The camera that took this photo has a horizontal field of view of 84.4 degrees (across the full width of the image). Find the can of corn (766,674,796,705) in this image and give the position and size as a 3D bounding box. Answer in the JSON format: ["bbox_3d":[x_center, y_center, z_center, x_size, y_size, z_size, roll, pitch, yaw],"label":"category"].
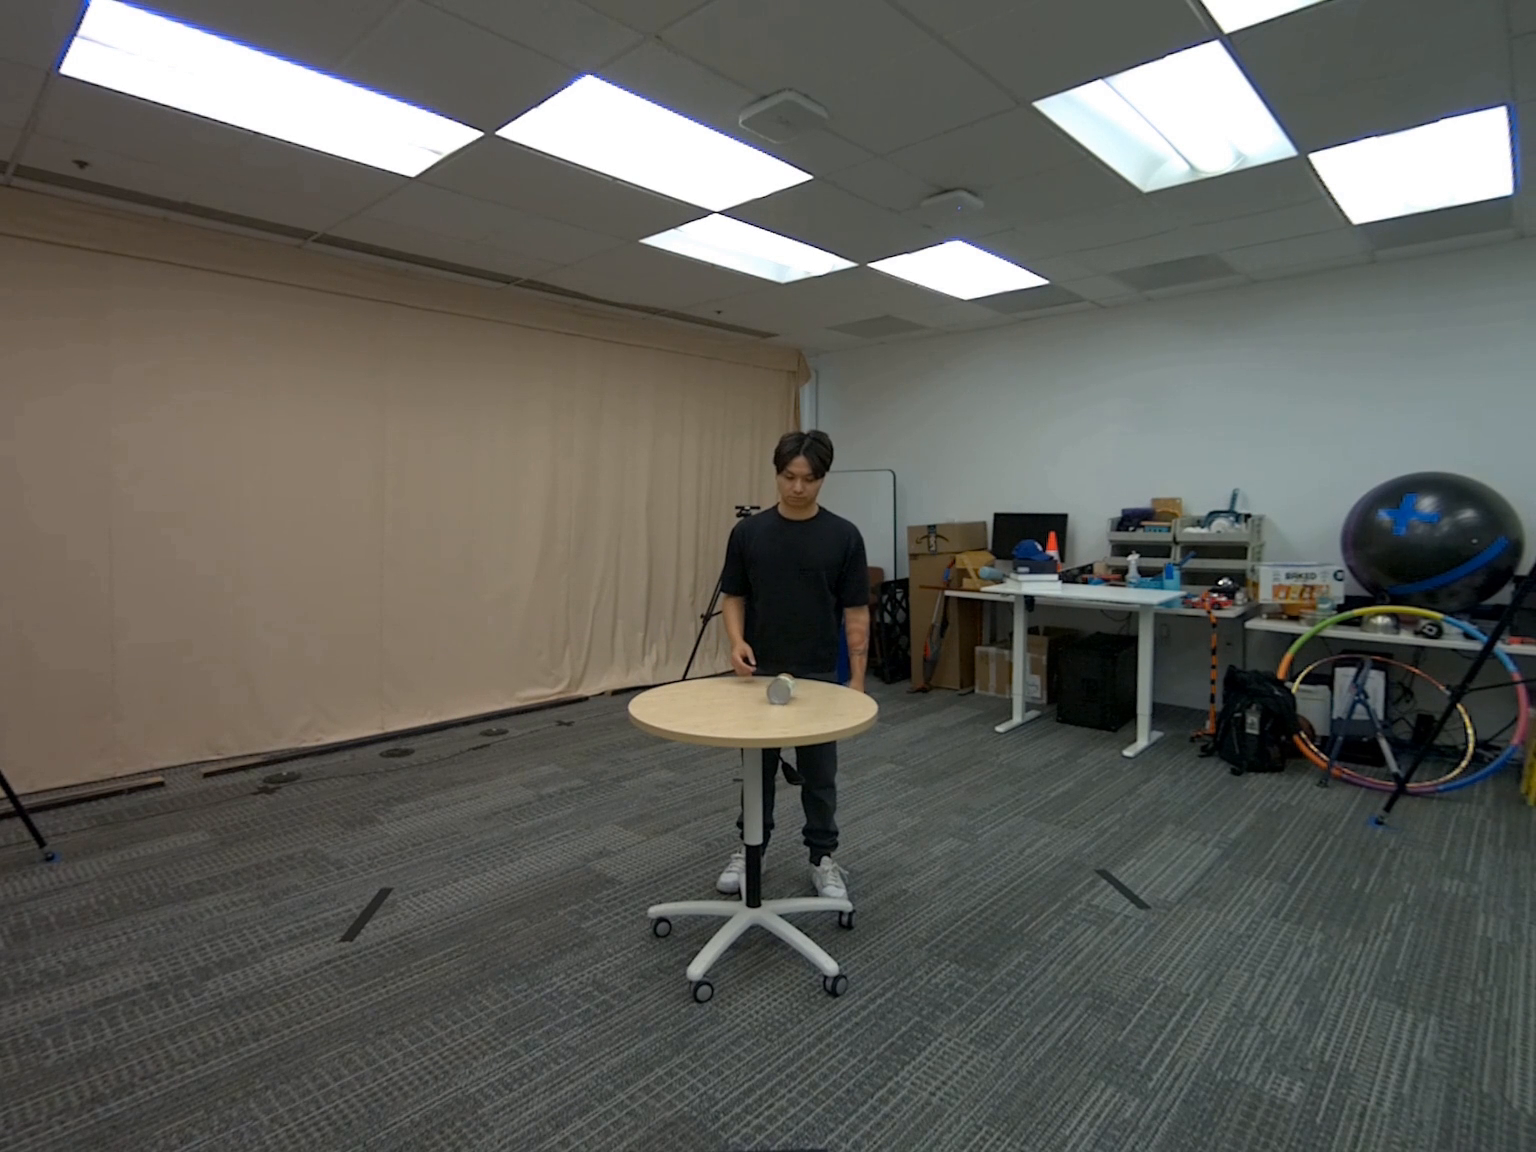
[{"bbox_3d":[0.043,0.351,2.630,0.075,0.074,0.110,1,6,10],"label":"can of corn"}]
